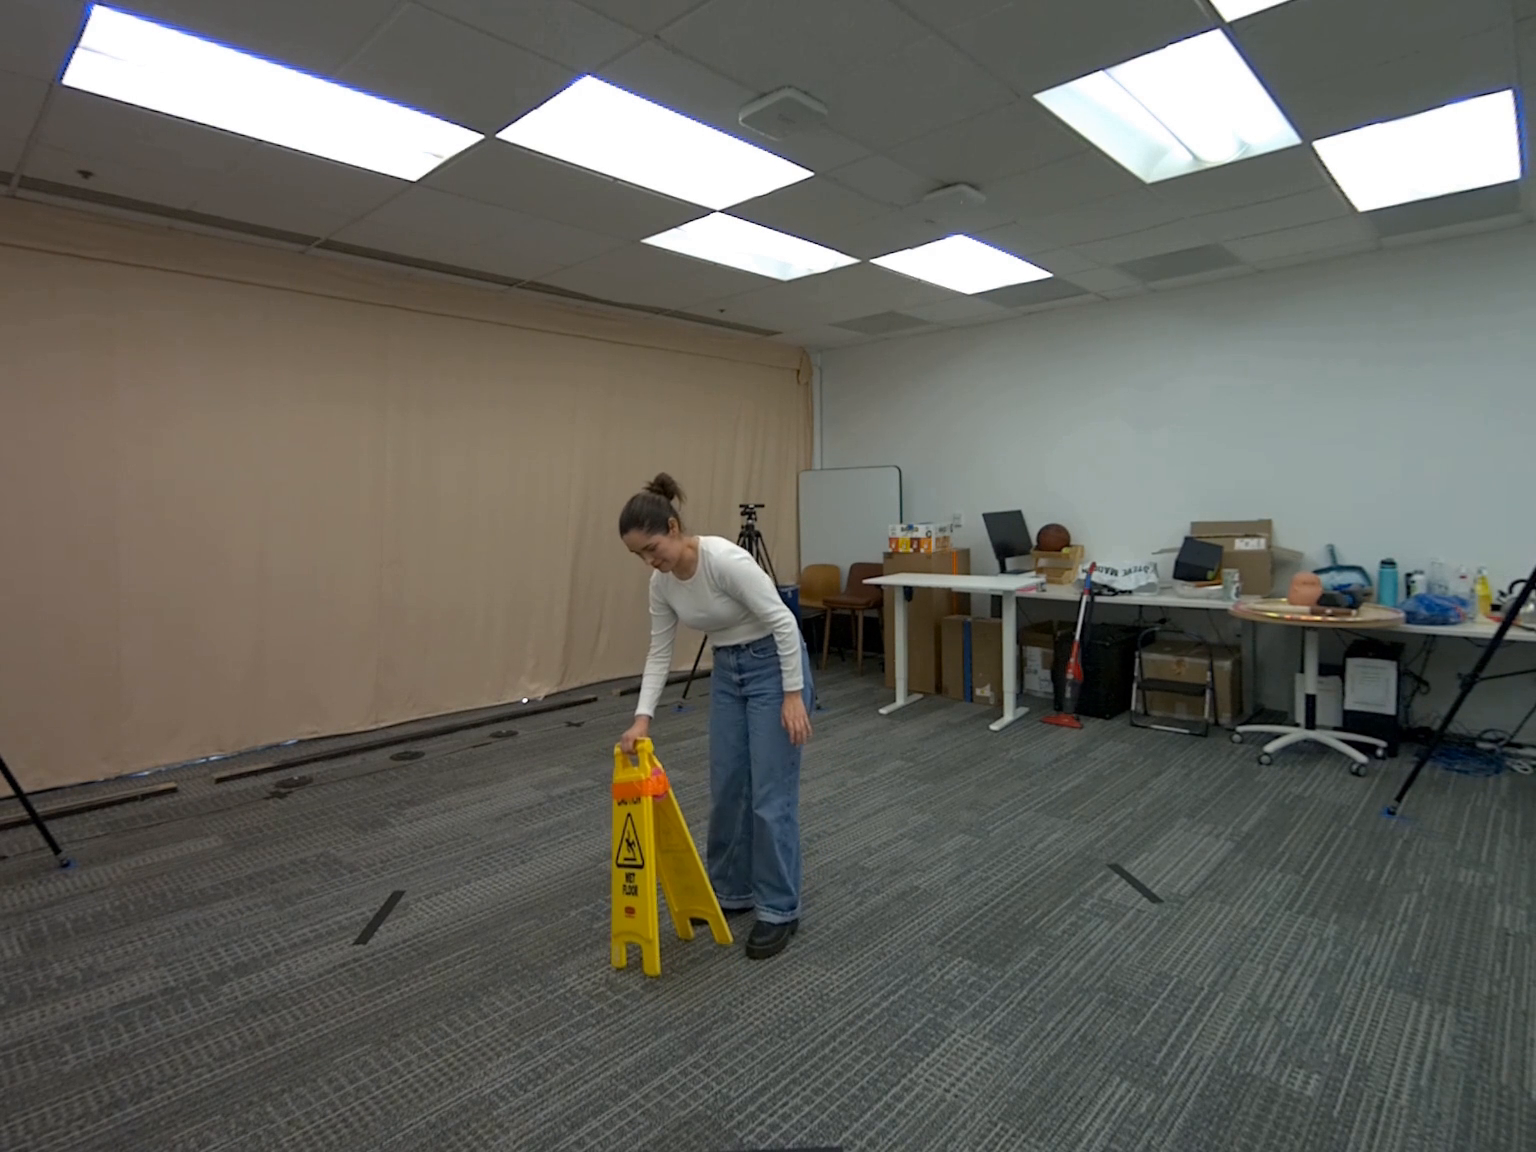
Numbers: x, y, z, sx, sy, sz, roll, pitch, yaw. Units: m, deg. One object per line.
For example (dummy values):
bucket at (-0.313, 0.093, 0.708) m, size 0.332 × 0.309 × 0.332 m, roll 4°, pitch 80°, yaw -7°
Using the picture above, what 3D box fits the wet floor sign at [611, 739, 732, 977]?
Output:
wet floor sign at (-0.351, 0.834, 2.602) m, size 0.281 × 0.652 × 0.288 m, roll -4°, pitch -13°, yaw -39°
